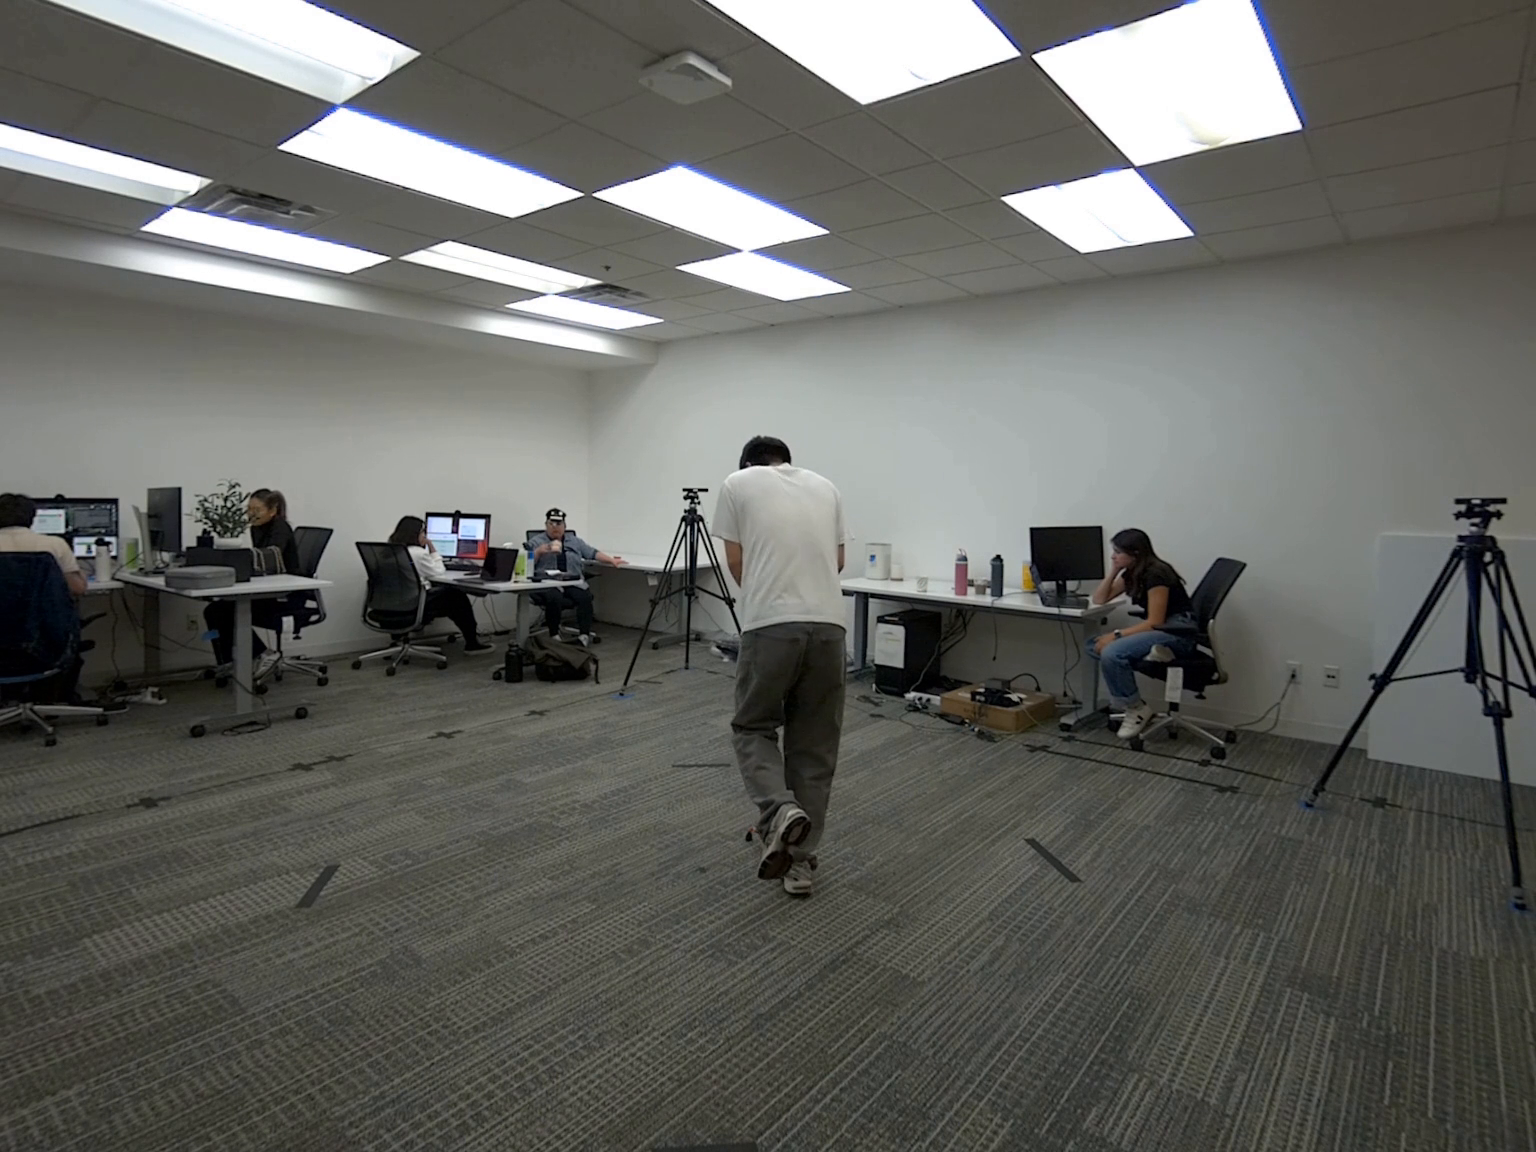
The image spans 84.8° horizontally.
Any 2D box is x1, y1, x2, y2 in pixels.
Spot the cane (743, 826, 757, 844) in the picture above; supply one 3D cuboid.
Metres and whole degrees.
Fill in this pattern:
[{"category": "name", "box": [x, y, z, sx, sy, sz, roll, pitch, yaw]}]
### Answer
[{"category": "cane", "box": [0.030, 0.597, 3.288, 0.148, 0.906, 0.211, 0, 3, -21]}]
